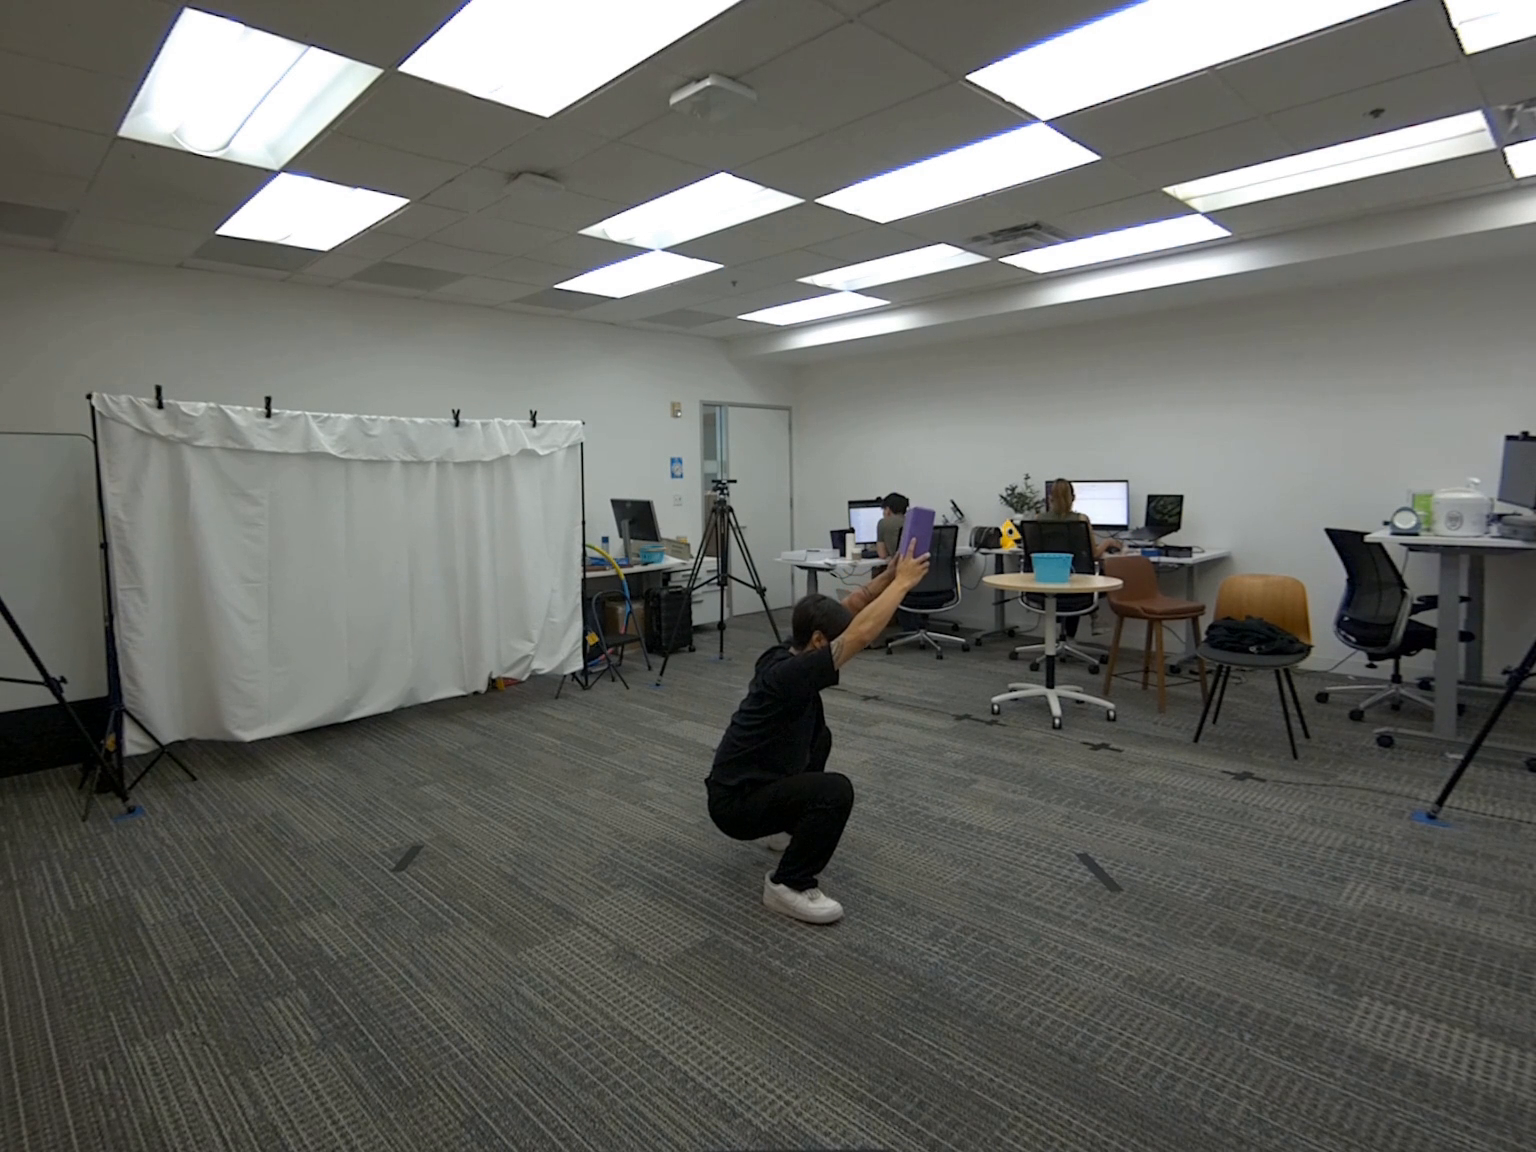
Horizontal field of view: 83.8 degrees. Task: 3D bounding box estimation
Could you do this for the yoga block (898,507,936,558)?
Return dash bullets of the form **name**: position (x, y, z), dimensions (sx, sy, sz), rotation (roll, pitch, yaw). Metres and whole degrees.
- **yoga block**: position (0.524, -0.125, 2.963), dimensions (0.077, 0.229, 0.147), rotation (10, 0, 6)
